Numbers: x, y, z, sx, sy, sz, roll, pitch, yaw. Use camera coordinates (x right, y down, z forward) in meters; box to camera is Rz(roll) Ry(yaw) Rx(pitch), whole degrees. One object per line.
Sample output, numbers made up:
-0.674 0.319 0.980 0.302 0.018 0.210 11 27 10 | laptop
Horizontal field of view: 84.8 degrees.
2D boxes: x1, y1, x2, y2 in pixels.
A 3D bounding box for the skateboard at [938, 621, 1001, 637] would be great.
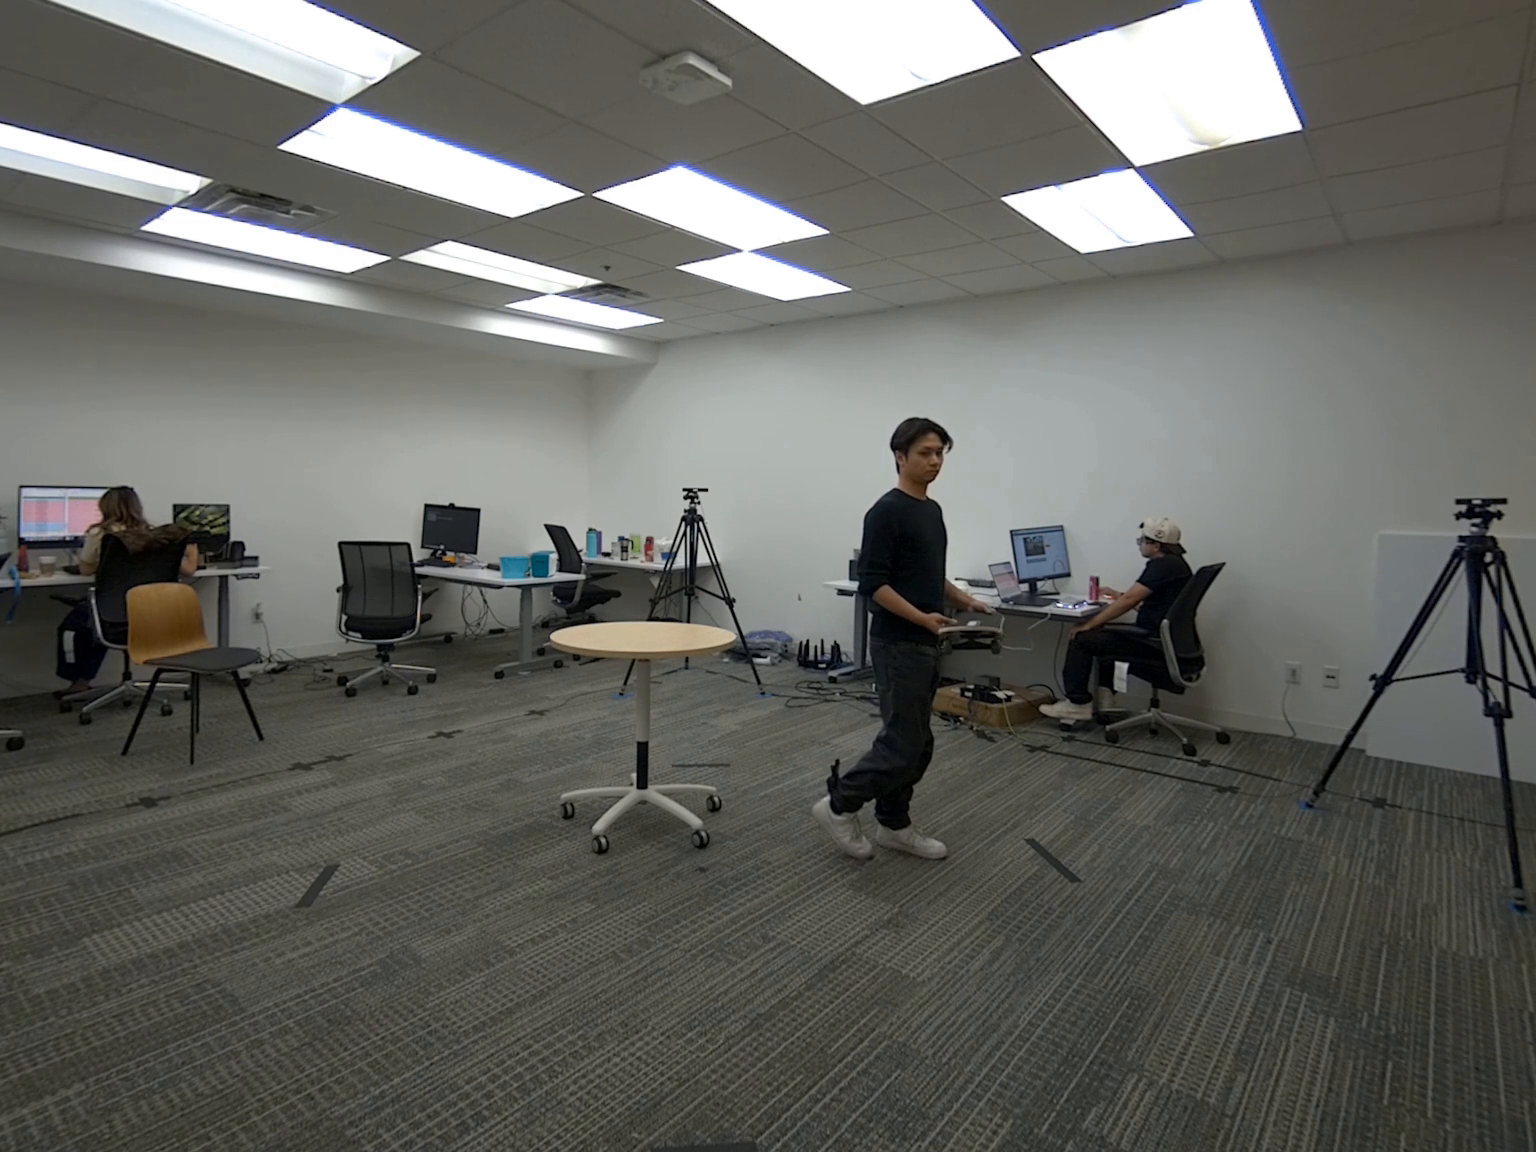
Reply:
0.743 0.199 3.044 0.197 0.110 0.772 -2 2 15 | skateboard
